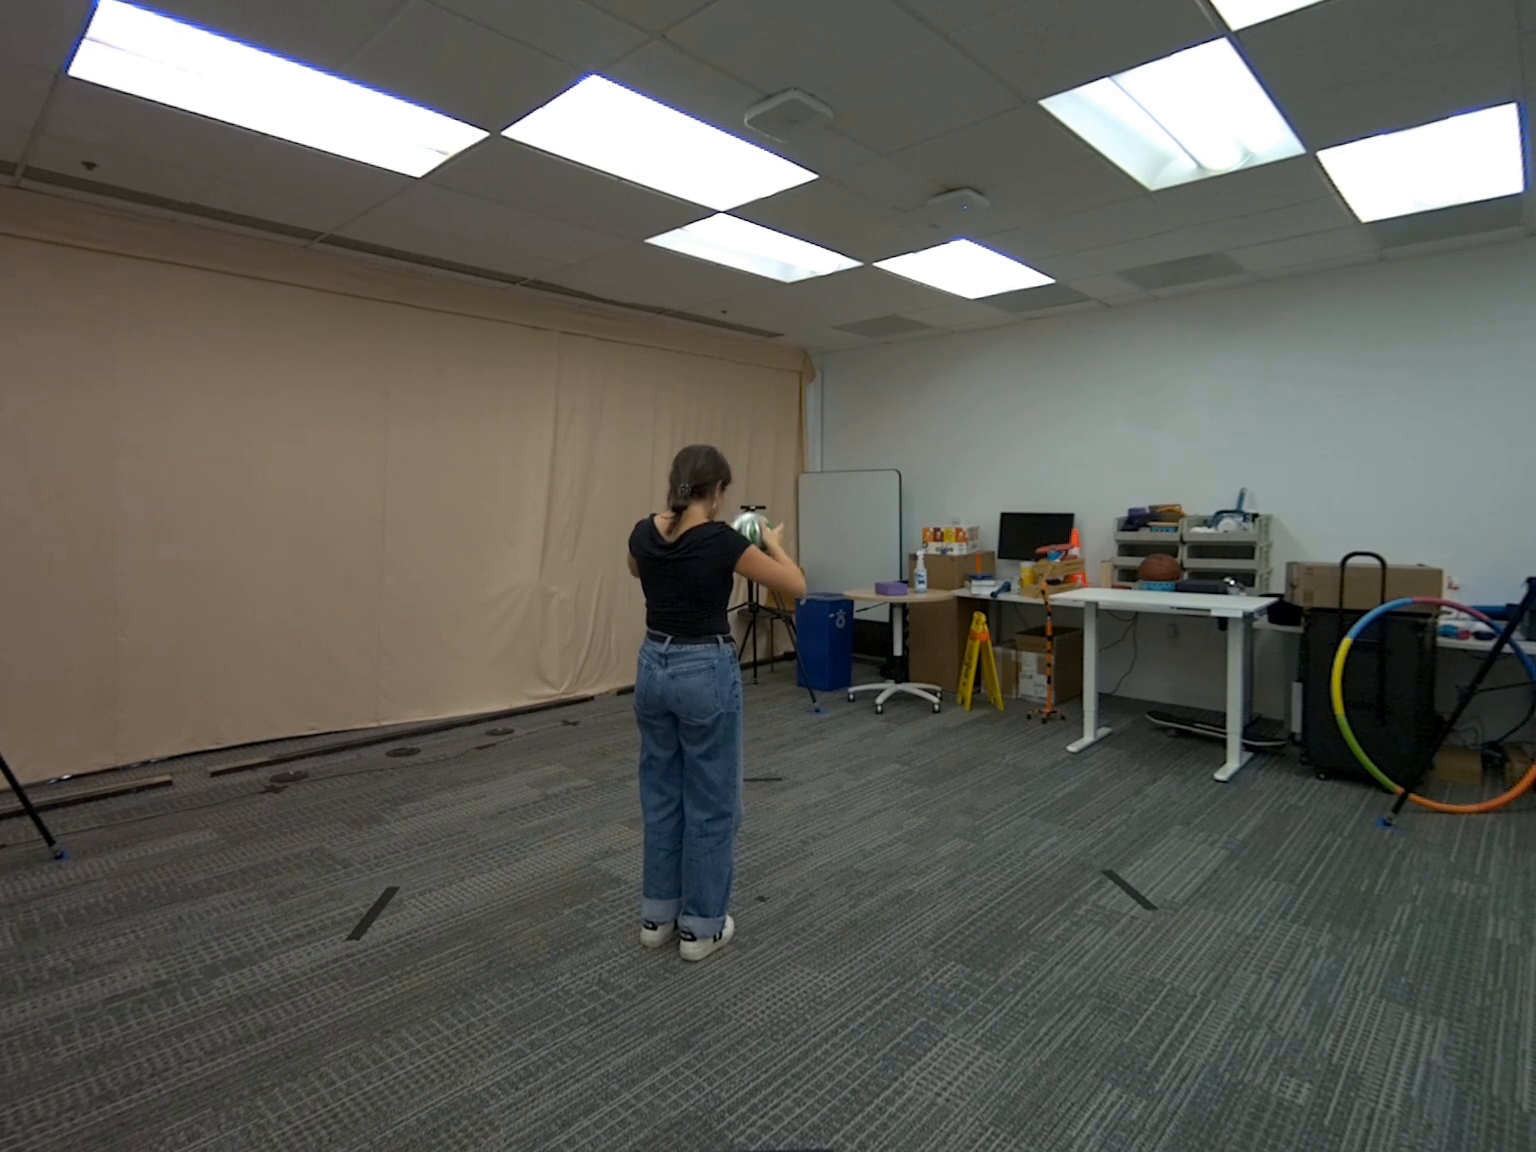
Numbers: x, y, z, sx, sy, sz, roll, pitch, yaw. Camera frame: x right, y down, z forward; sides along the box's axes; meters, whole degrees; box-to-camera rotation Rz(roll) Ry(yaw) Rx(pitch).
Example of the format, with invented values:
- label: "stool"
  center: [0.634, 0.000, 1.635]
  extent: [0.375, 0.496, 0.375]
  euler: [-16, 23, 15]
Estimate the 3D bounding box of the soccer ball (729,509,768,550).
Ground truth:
- label: "soccer ball"
  center: [-0.055, -0.172, 2.881]
  extent: [0.187, 0.187, 0.188]
  euler: [0, 4, -2]
